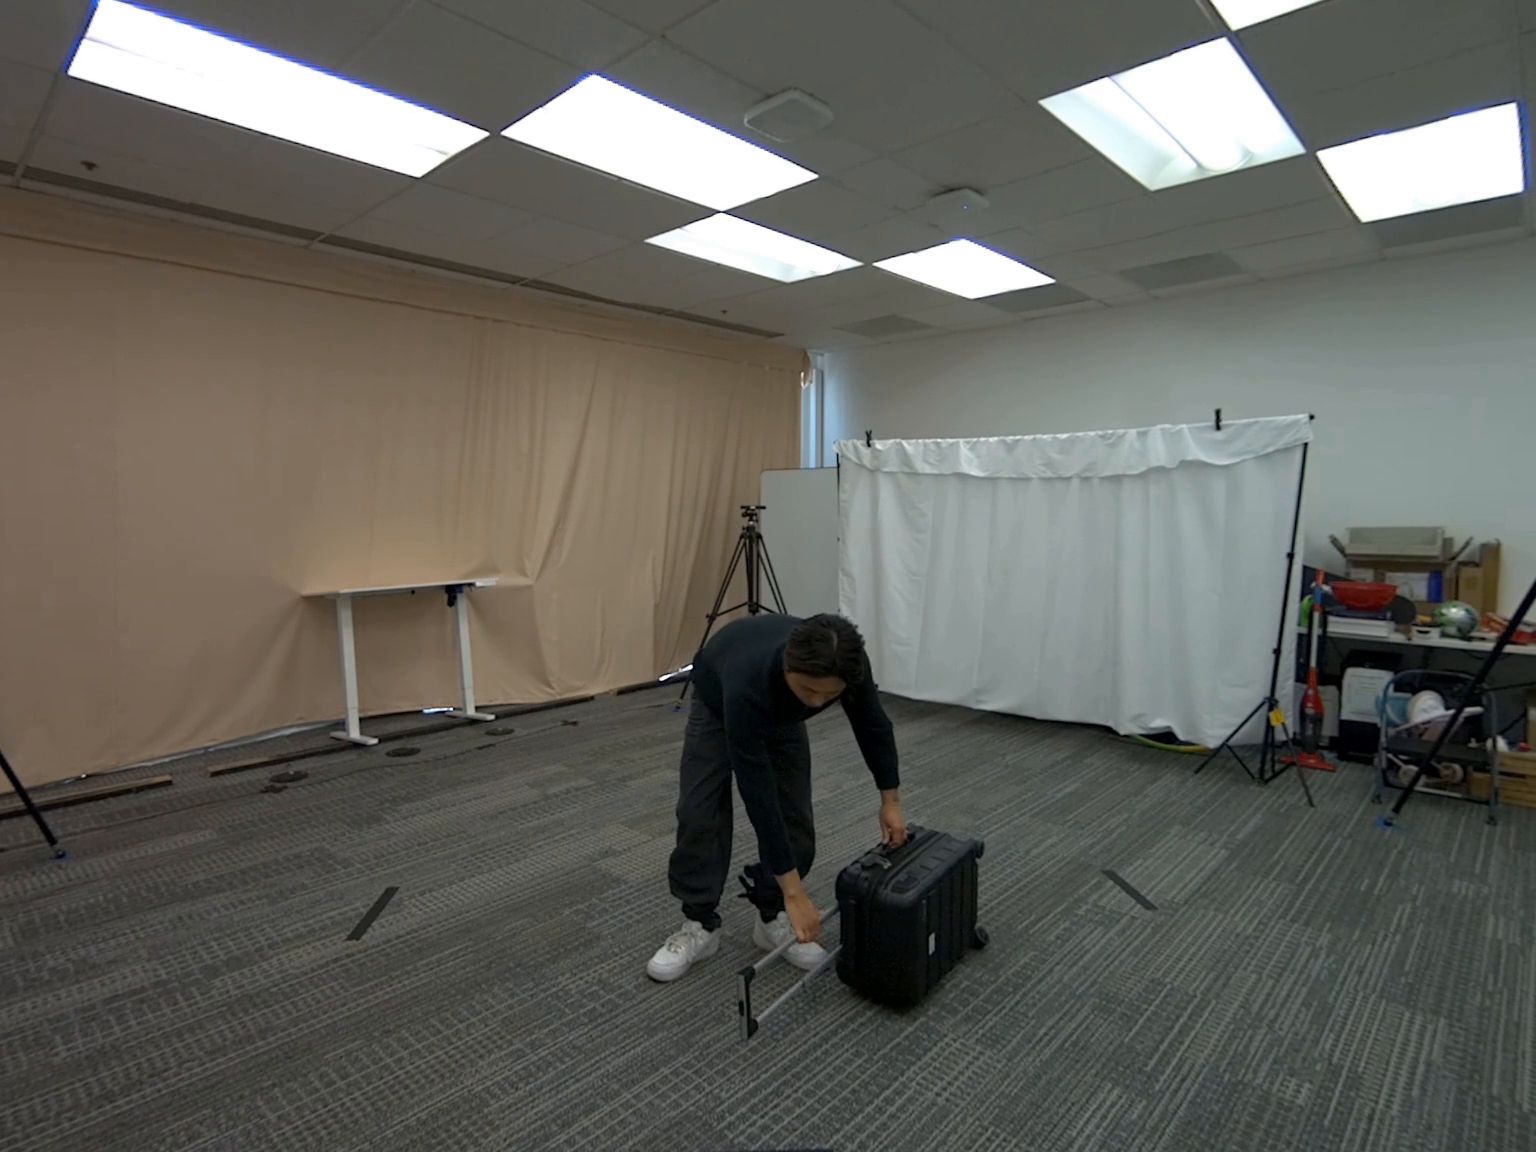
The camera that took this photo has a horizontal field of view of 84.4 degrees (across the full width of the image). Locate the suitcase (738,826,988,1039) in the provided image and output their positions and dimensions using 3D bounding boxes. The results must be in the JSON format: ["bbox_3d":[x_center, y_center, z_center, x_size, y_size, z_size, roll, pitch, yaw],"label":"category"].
[{"bbox_3d":[0.311,1.007,2.342,0.265,0.383,0.950,2,5,37],"label":"suitcase"}]
